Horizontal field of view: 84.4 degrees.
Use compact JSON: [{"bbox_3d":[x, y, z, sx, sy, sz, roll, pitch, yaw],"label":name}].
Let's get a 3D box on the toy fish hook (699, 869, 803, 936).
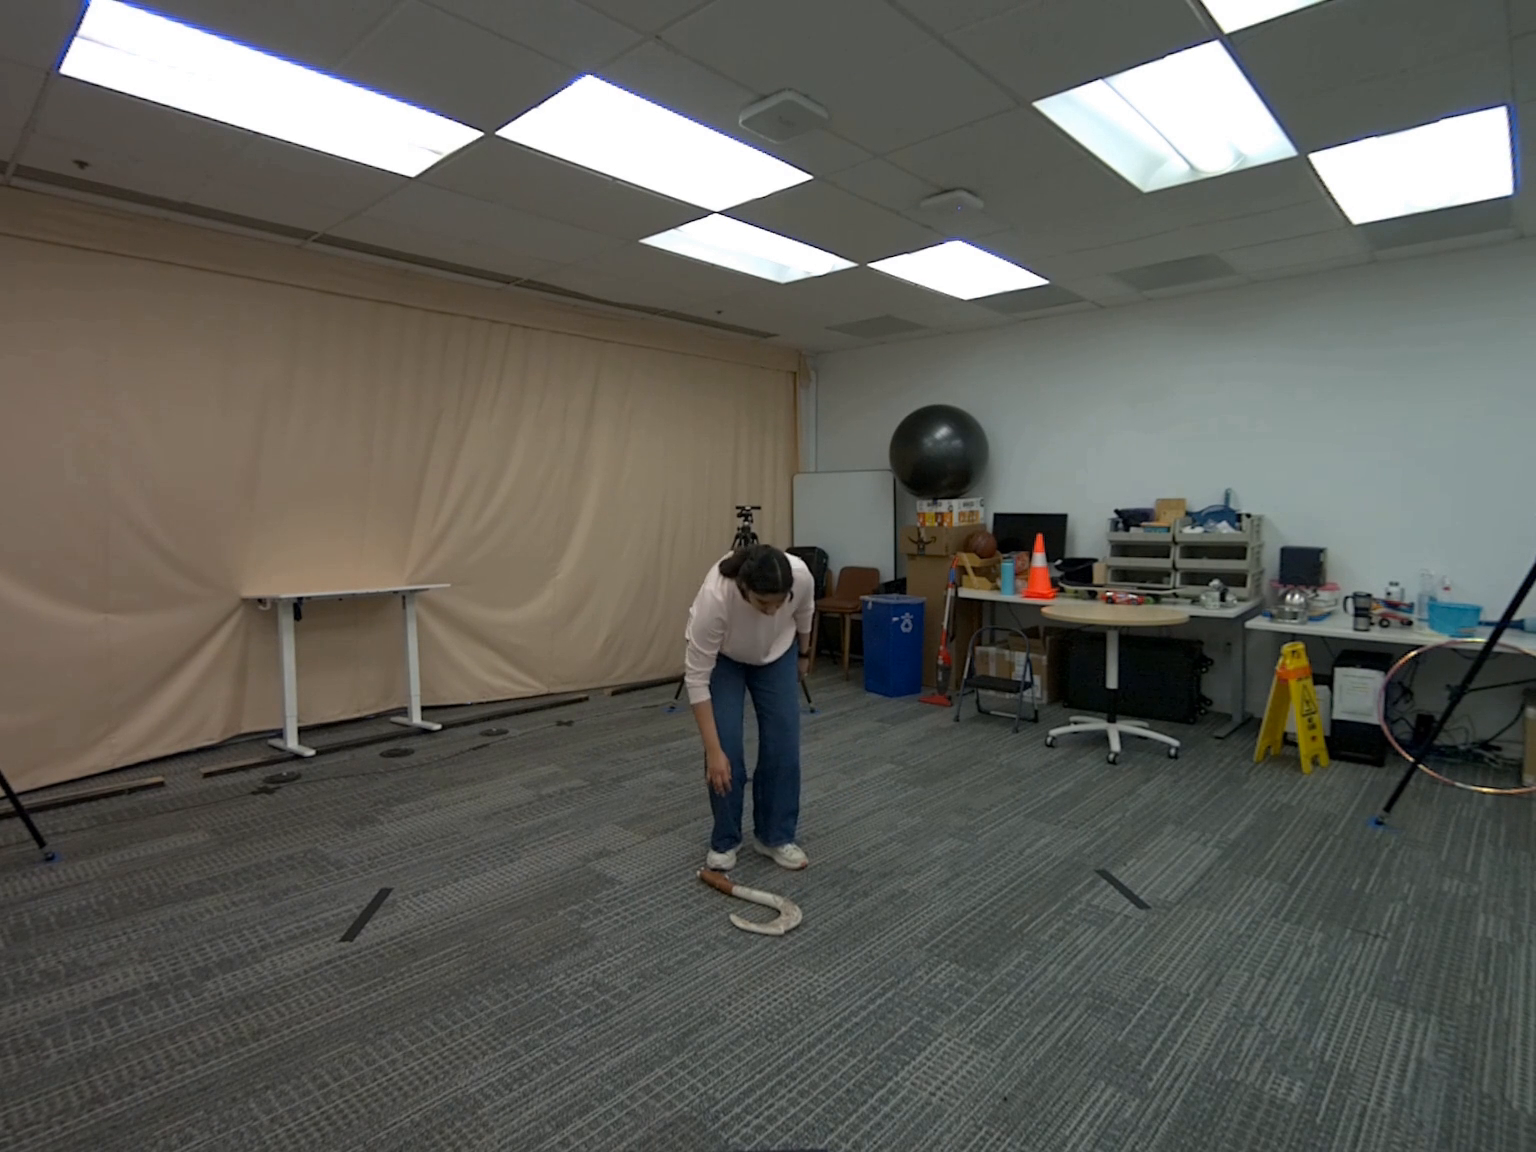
[{"bbox_3d":[-0.108,1.121,2.930,0.217,0.048,0.524,-3,6,-45],"label":"toy fish hook"}]
